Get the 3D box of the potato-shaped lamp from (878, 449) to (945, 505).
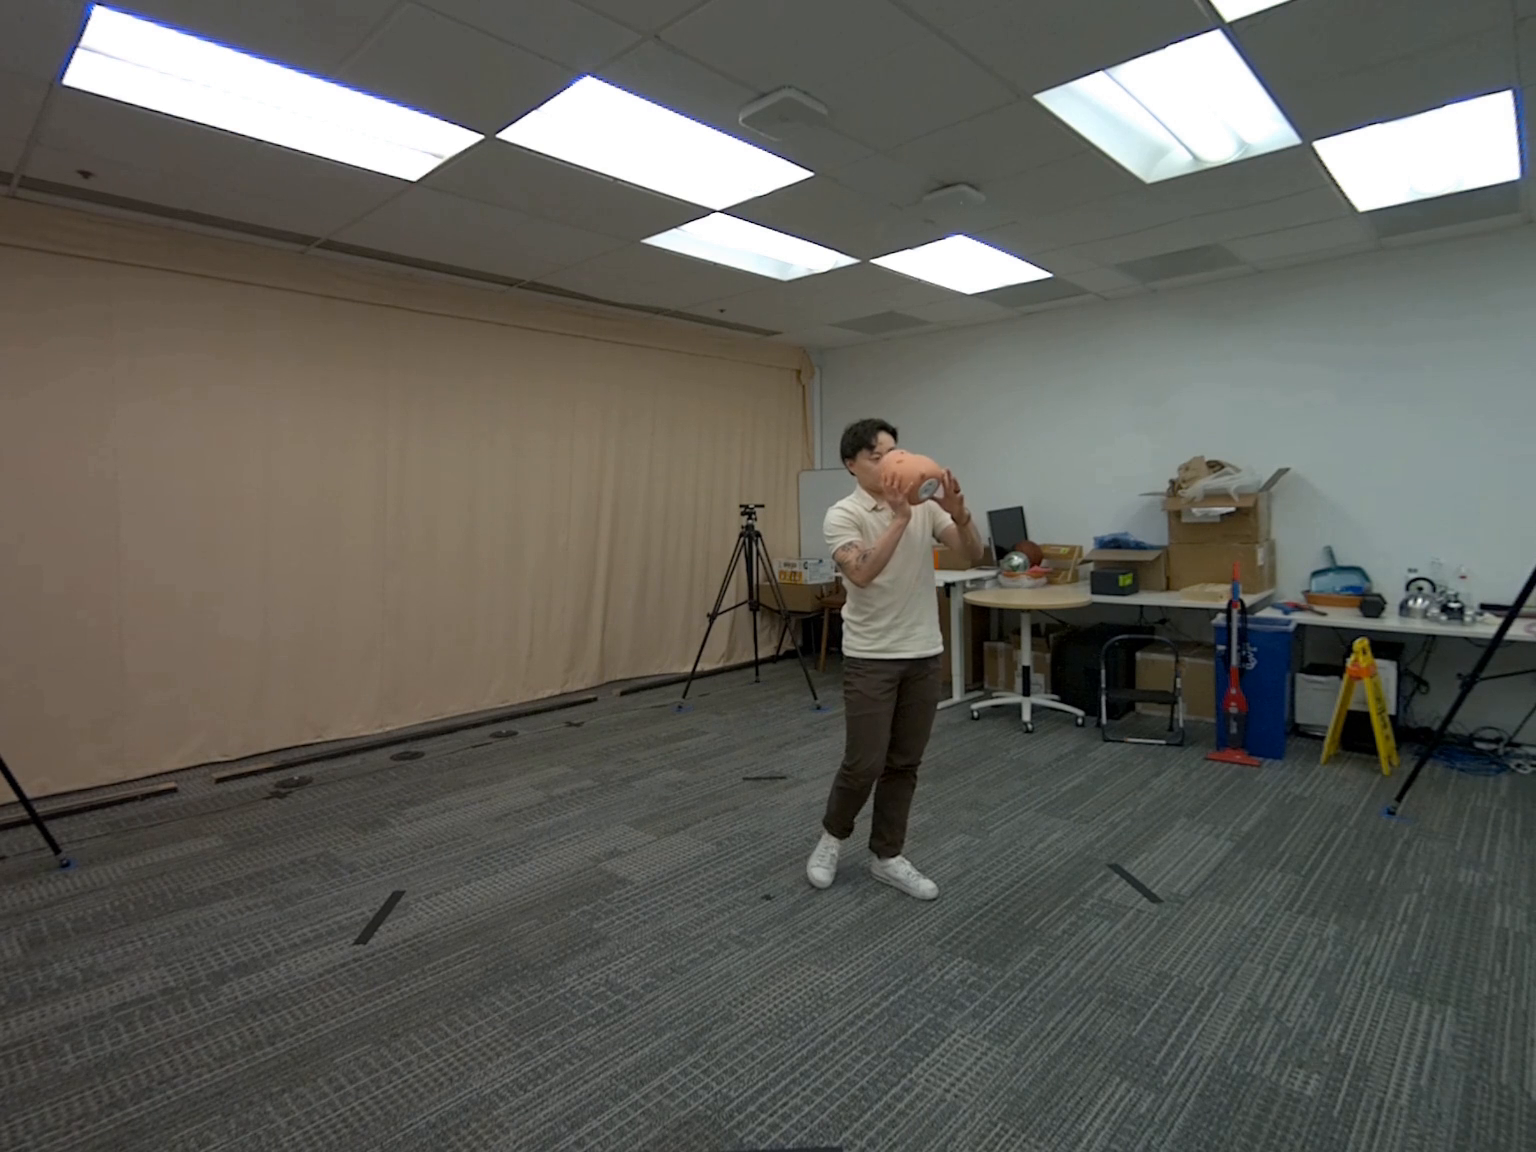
[{"bbox_3d":[0.452,-0.324,2.729,0.160,0.170,0.205,-3,41,-33],"label":"potato-shaped lamp"}]
